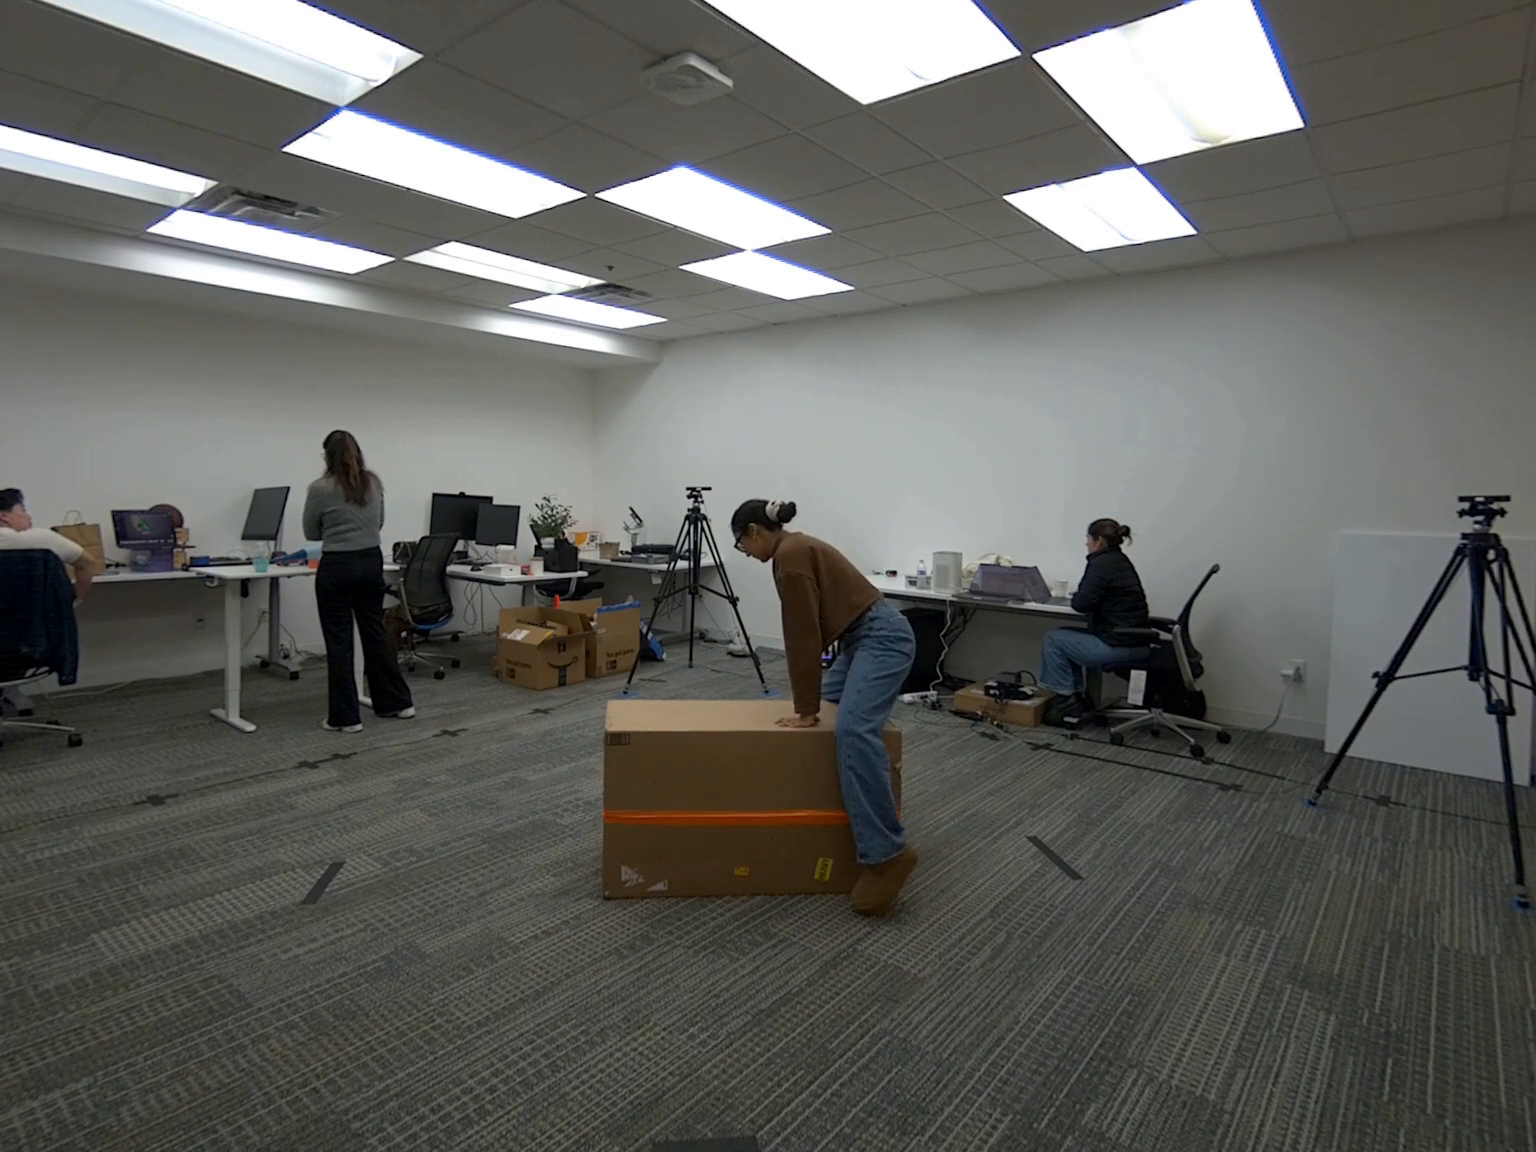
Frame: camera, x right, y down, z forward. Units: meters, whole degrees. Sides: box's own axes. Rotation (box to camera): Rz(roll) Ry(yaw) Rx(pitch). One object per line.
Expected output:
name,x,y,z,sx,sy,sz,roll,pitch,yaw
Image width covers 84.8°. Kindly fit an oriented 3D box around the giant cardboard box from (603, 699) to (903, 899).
giant cardboard box,-0.094,0.790,3.095,1.021,0.583,0.450,0,2,-6
